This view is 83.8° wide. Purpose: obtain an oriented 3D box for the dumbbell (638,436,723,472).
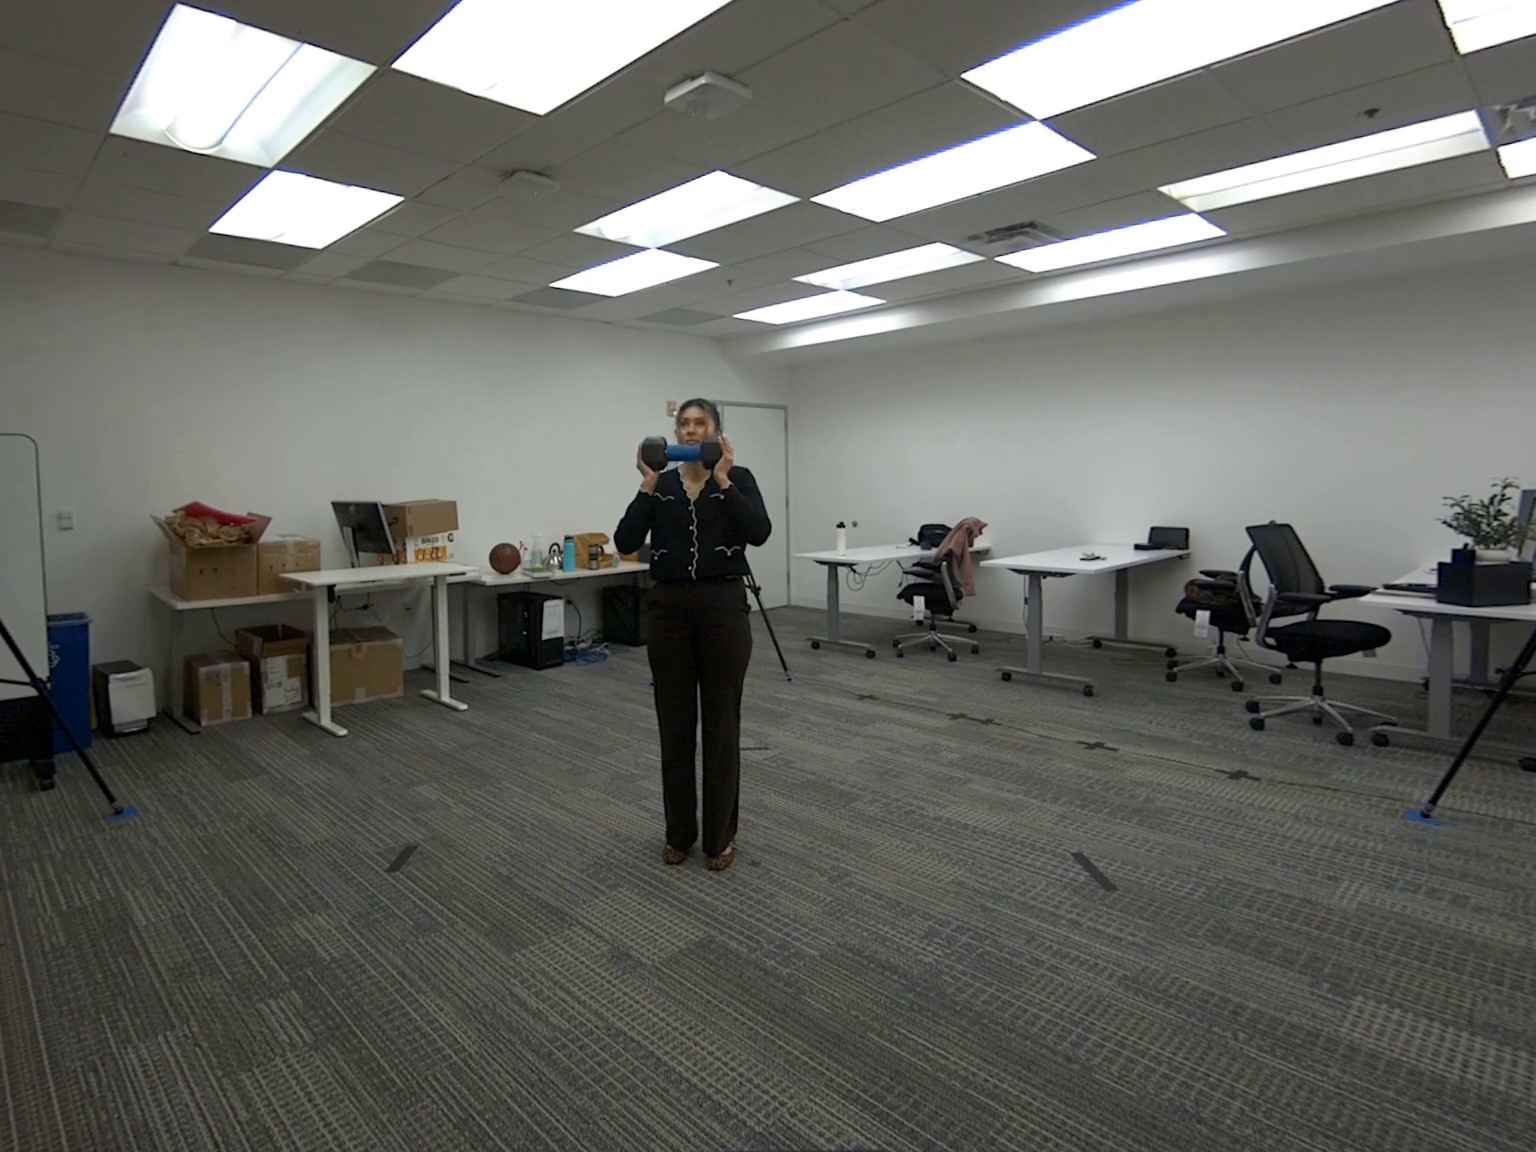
[{"bbox_3d":[-0.296,-0.437,3.027,0.296,0.106,0.125,1,29,9],"label":"dumbbell"}]
